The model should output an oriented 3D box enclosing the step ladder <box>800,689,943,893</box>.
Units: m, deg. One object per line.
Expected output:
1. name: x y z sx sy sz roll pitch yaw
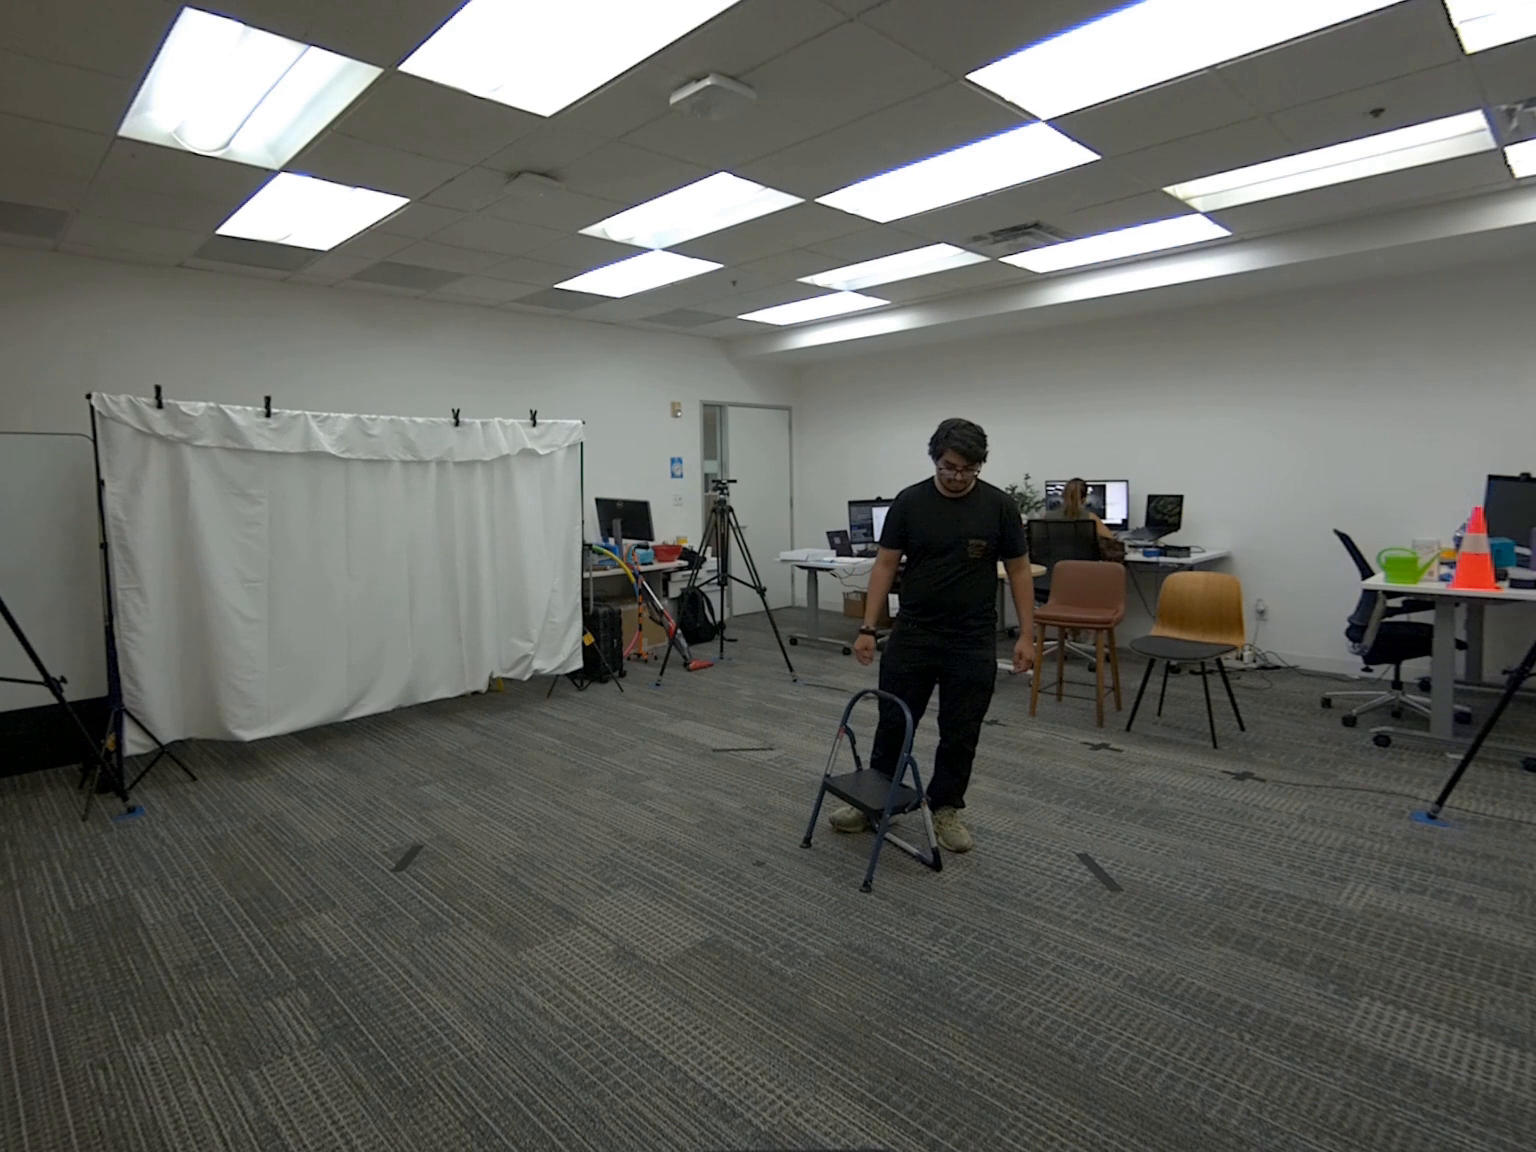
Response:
1. step ladder: 0.372 0.736 3.116 0.341 0.604 0.442 -3 5 -27
